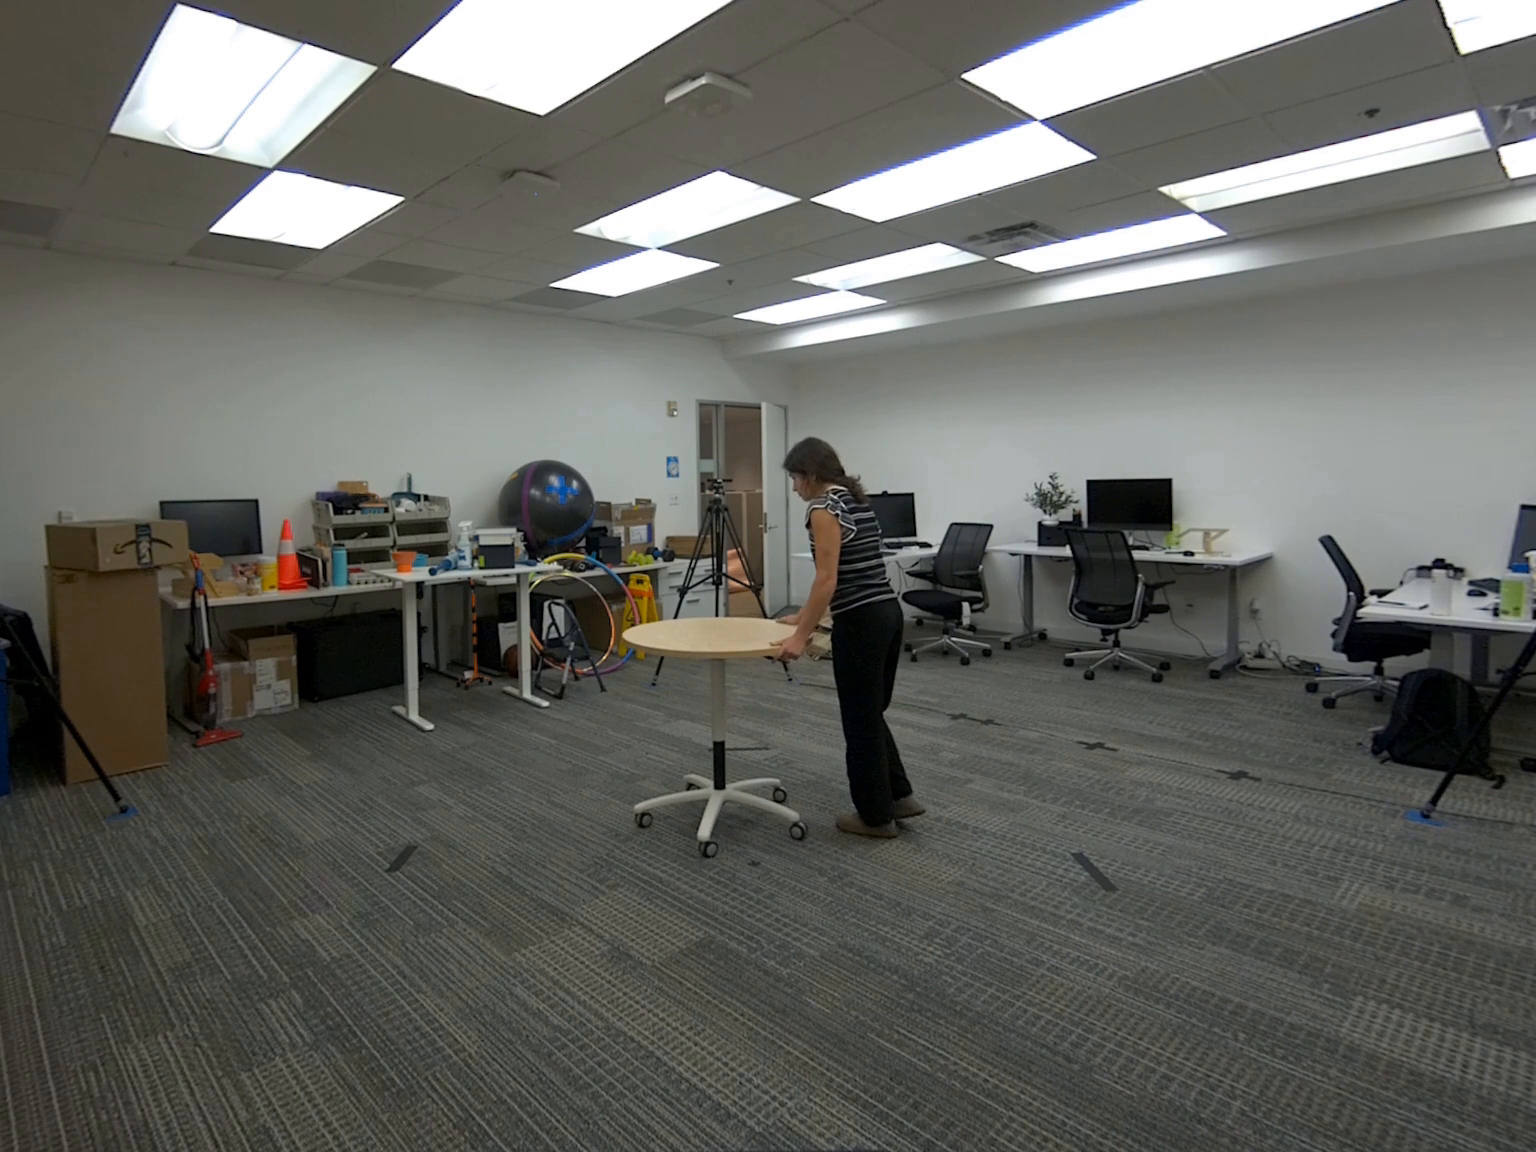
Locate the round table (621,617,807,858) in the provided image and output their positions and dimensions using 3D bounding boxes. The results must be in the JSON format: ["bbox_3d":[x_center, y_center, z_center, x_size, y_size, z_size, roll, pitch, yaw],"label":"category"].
[{"bbox_3d":[-0.197,0.618,3.464,0.763,0.791,0.768,-1,5,-2],"label":"round table"}]
